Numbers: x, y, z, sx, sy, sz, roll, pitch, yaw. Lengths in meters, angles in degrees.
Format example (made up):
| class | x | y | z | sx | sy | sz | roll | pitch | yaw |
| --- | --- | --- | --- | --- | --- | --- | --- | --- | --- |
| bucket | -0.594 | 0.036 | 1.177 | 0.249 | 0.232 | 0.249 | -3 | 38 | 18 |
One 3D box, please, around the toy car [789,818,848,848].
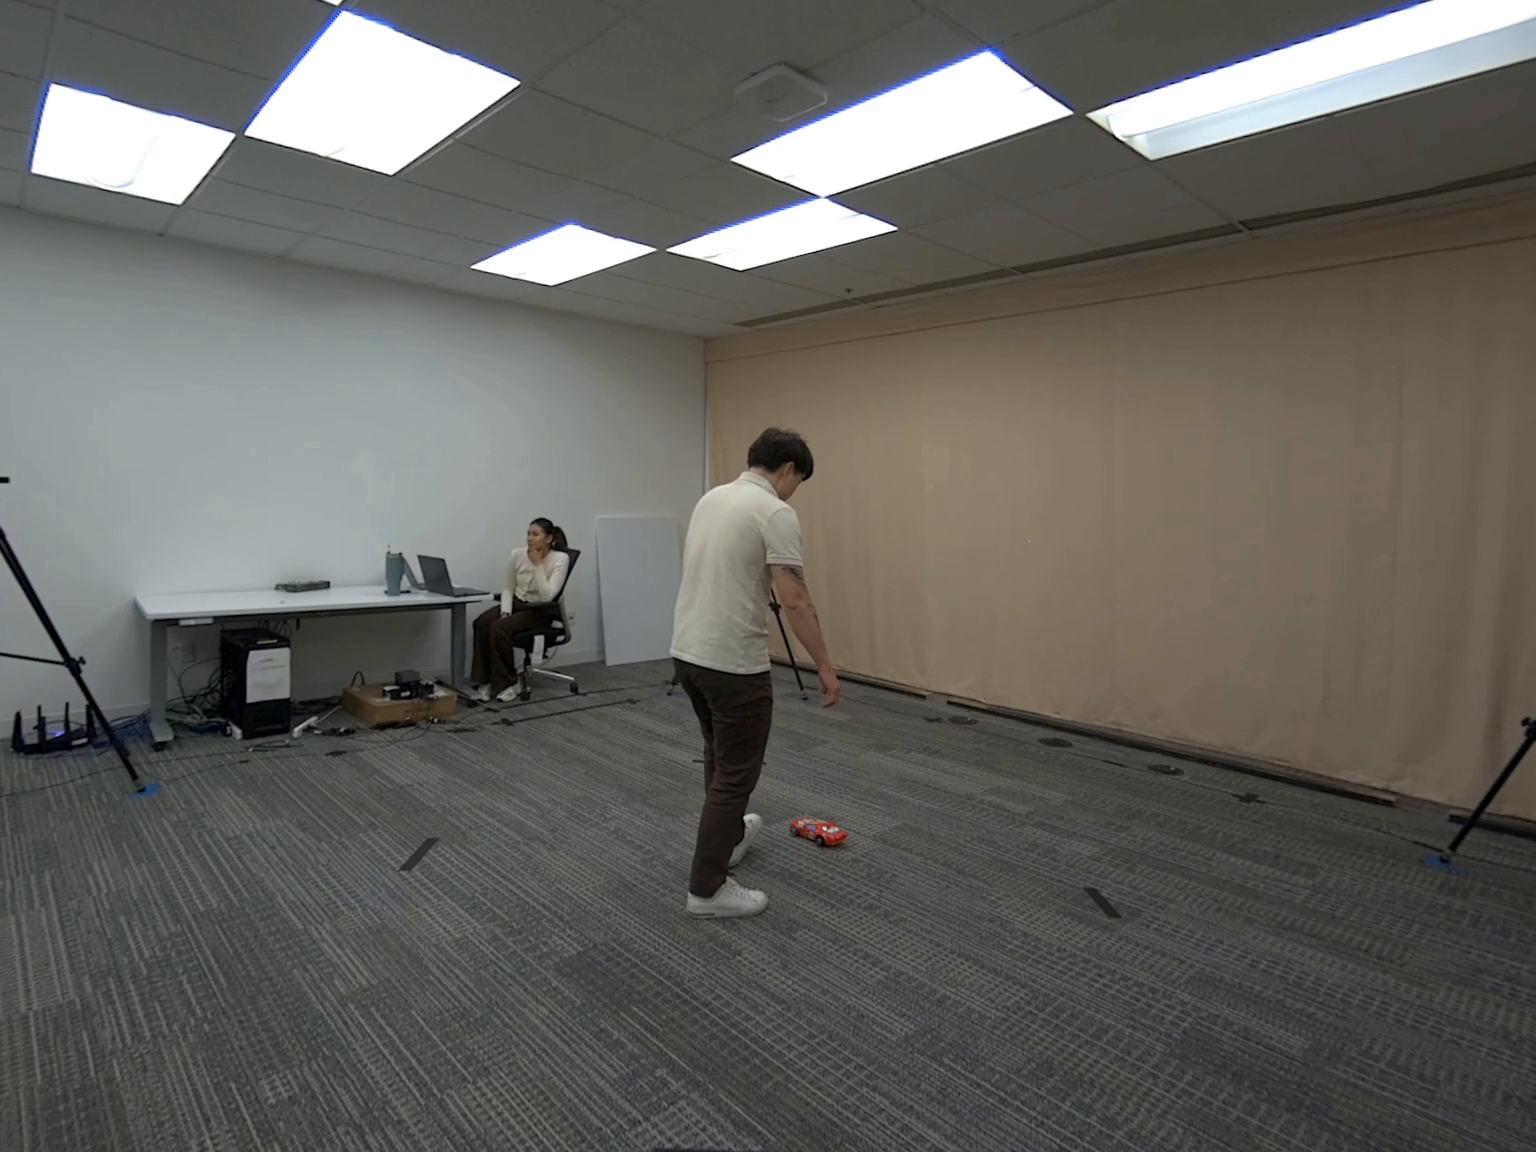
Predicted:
| class | x | y | z | sx | sy | sz | roll | pitch | yaw |
| --- | --- | --- | --- | --- | --- | --- | --- | --- | --- |
| toy car | 0.201 | 1.049 | 3.446 | 0.127 | 0.083 | 0.259 | -2 | -5 | -43 |
